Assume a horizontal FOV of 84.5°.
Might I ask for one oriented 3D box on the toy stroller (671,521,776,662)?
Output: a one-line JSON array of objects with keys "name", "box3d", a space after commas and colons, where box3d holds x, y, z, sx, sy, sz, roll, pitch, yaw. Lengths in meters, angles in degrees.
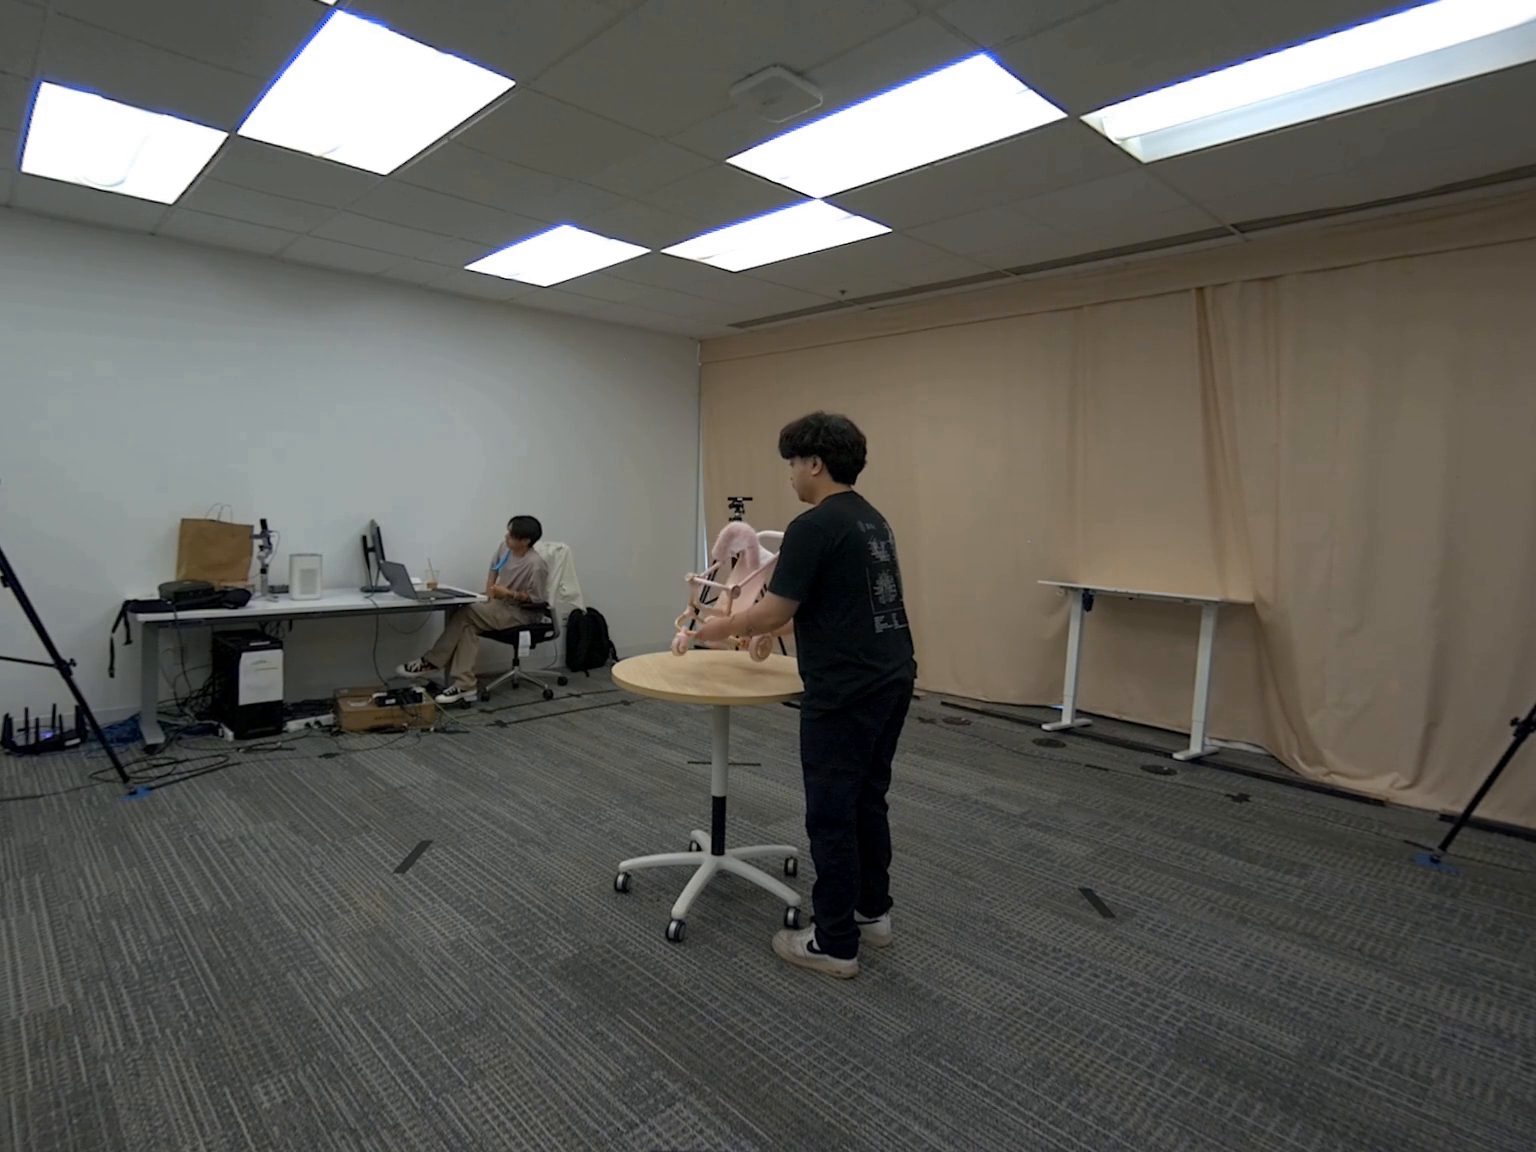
[{"name": "toy stroller", "box3d": [-0.143, 0.047, 2.913, 0.331, 0.536, 0.289, 23, -8, -42]}]
